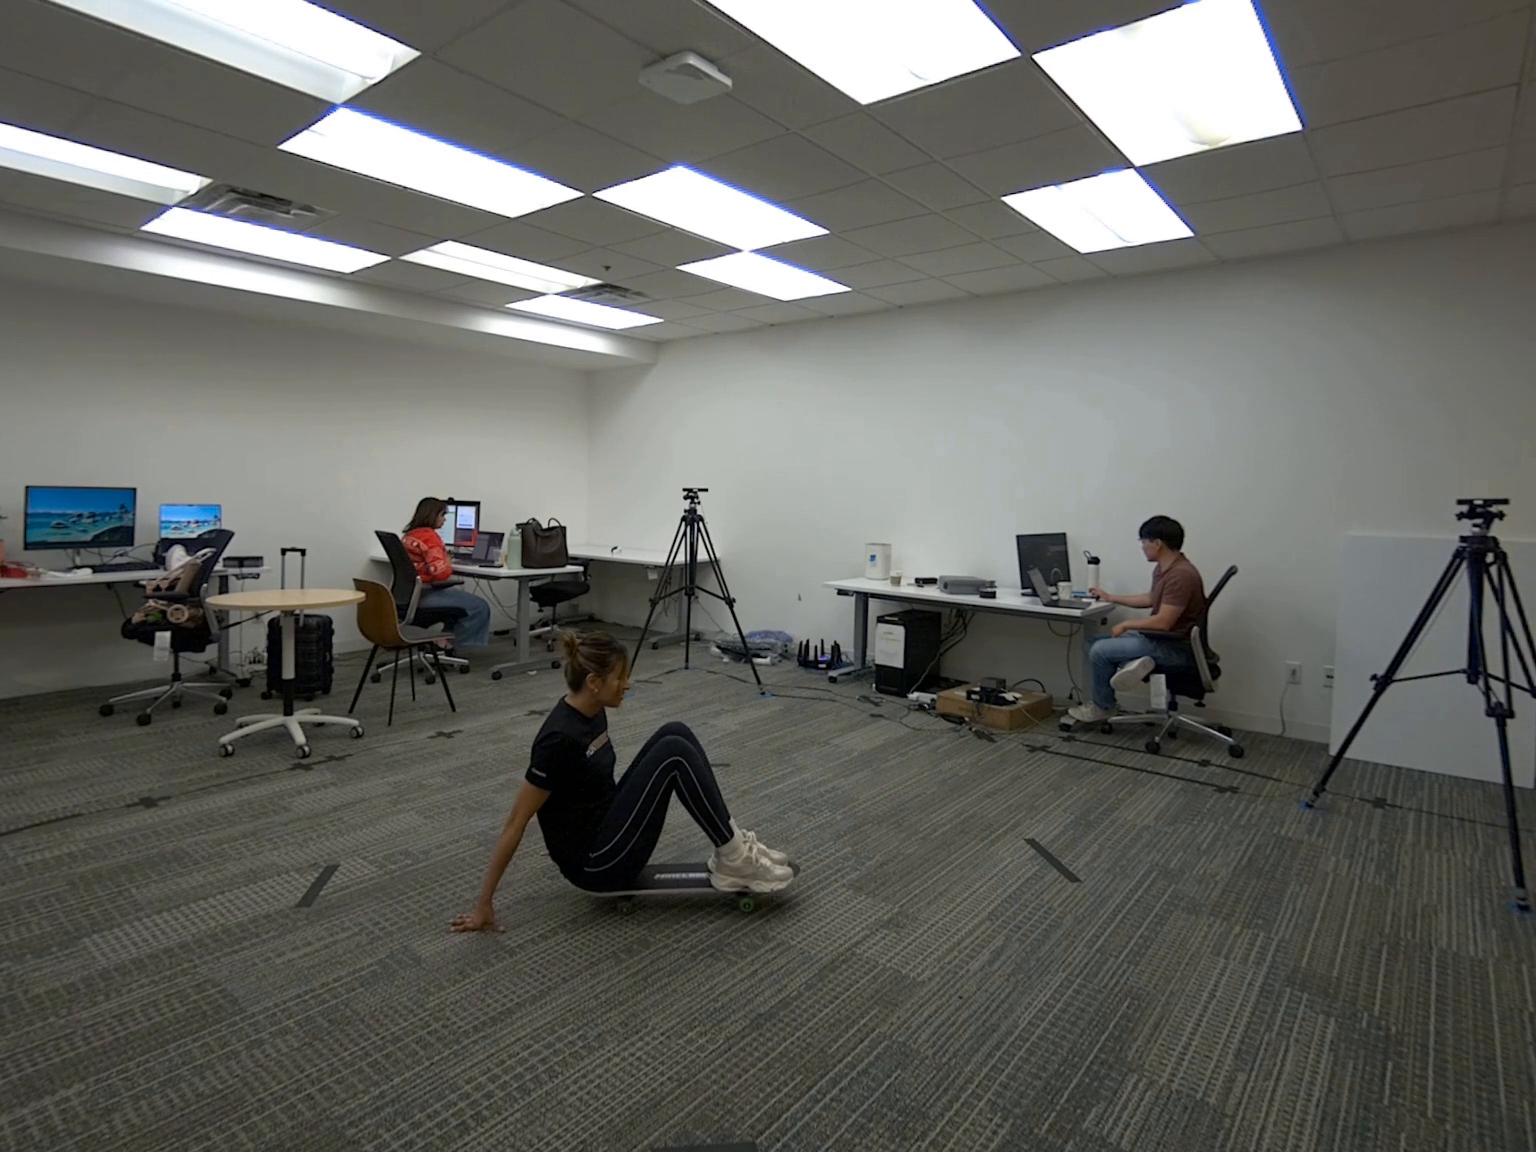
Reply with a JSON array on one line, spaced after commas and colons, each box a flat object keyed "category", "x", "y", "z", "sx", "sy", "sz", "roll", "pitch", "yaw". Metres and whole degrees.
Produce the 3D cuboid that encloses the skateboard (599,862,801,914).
[{"category": "skateboard", "x": -0.293, "y": 1.048, "z": 2.851, "sx": 0.781, "sy": 0.110, "sz": 0.195, "roll": 0, "pitch": 6, "yaw": -5}]
